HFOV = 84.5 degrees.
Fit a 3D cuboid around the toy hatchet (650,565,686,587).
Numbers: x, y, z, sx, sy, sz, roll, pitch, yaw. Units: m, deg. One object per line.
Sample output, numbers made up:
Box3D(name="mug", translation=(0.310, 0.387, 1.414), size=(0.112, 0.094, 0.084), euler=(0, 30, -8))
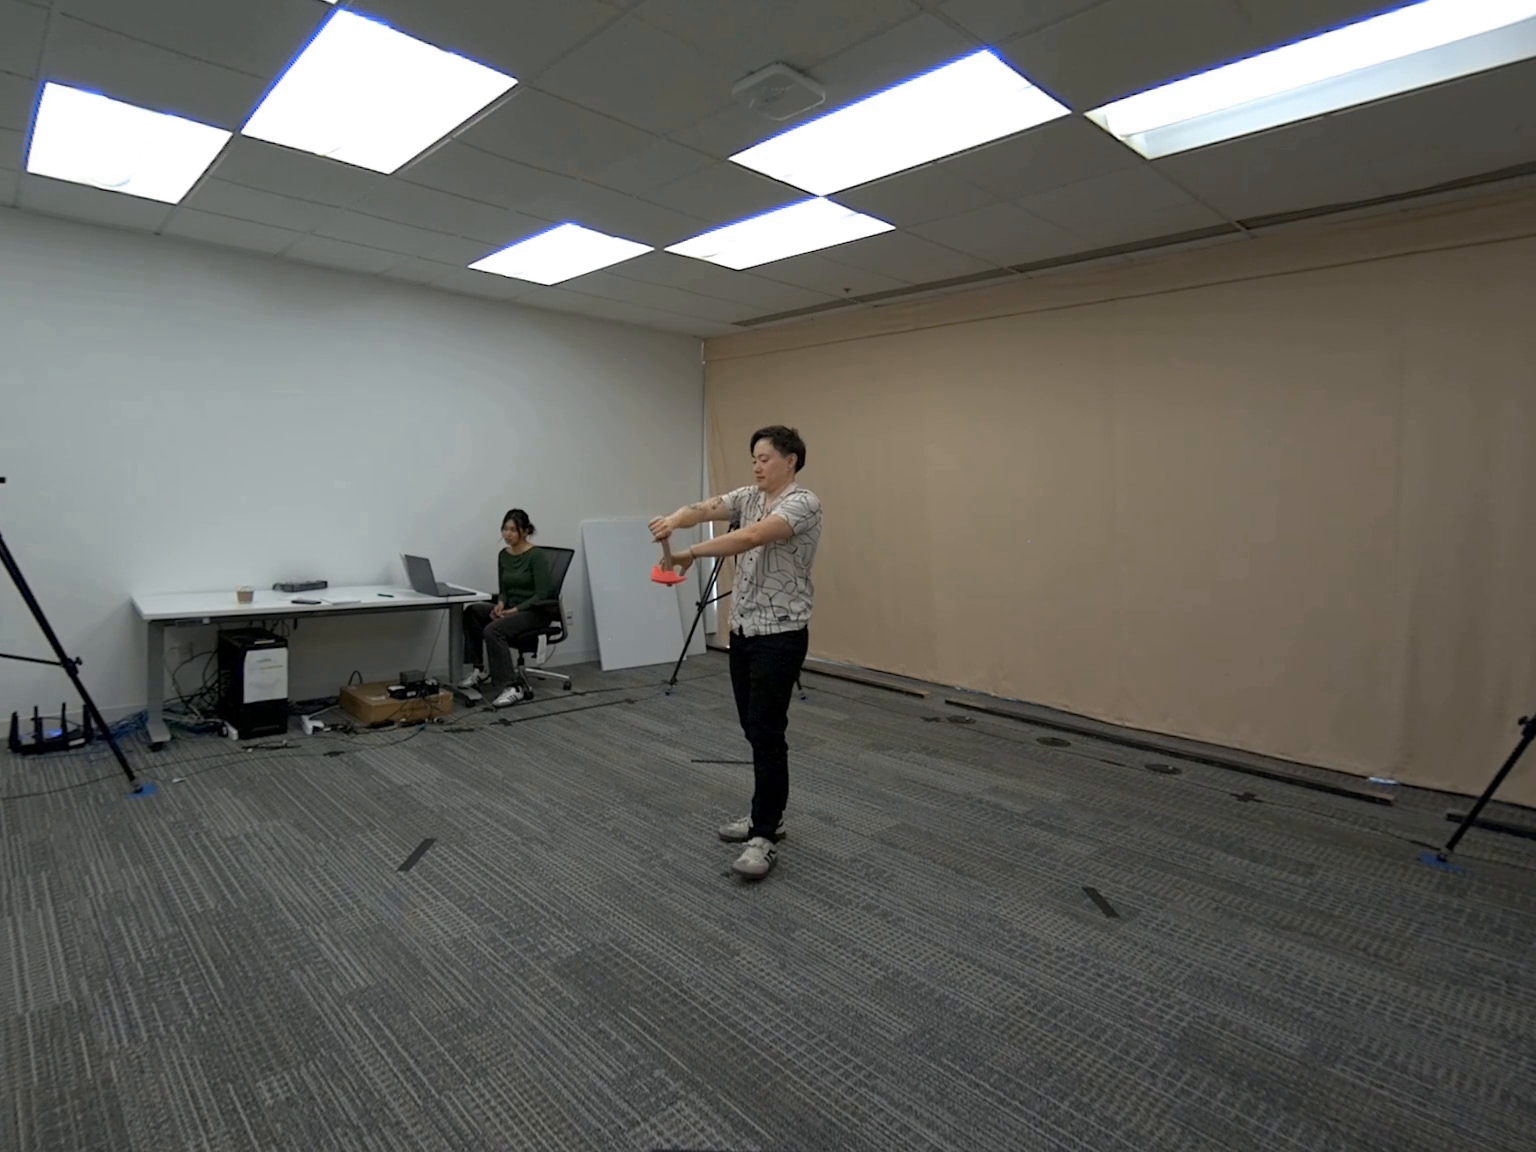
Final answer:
Box3D(name="toy hatchet", translation=(-0.412, -0.084, 3.093), size=(0.129, 0.275, 0.029), euler=(-18, -20, -23))
